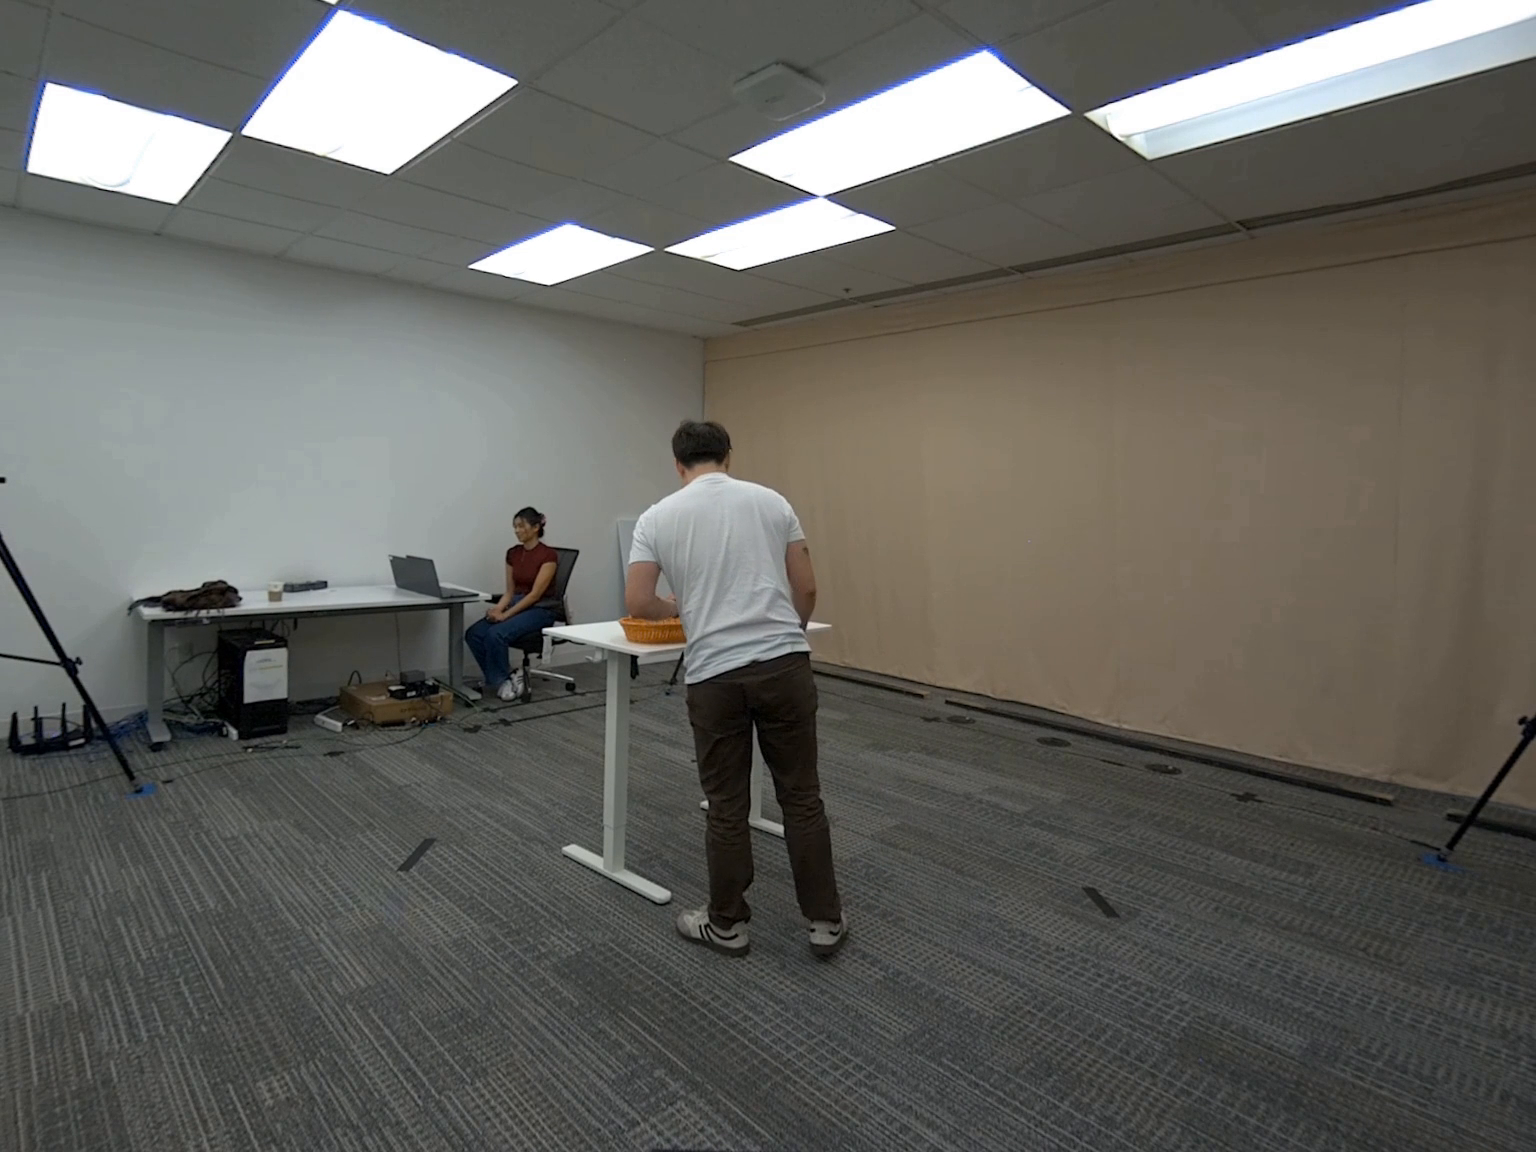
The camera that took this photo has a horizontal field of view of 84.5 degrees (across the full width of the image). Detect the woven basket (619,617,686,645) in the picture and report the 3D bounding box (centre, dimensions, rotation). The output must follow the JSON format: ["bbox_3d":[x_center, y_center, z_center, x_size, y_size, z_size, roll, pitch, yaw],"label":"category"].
[{"bbox_3d":[-0.380,0.193,3.010,0.343,0.073,0.258,-1,4,-33],"label":"woven basket"}]
